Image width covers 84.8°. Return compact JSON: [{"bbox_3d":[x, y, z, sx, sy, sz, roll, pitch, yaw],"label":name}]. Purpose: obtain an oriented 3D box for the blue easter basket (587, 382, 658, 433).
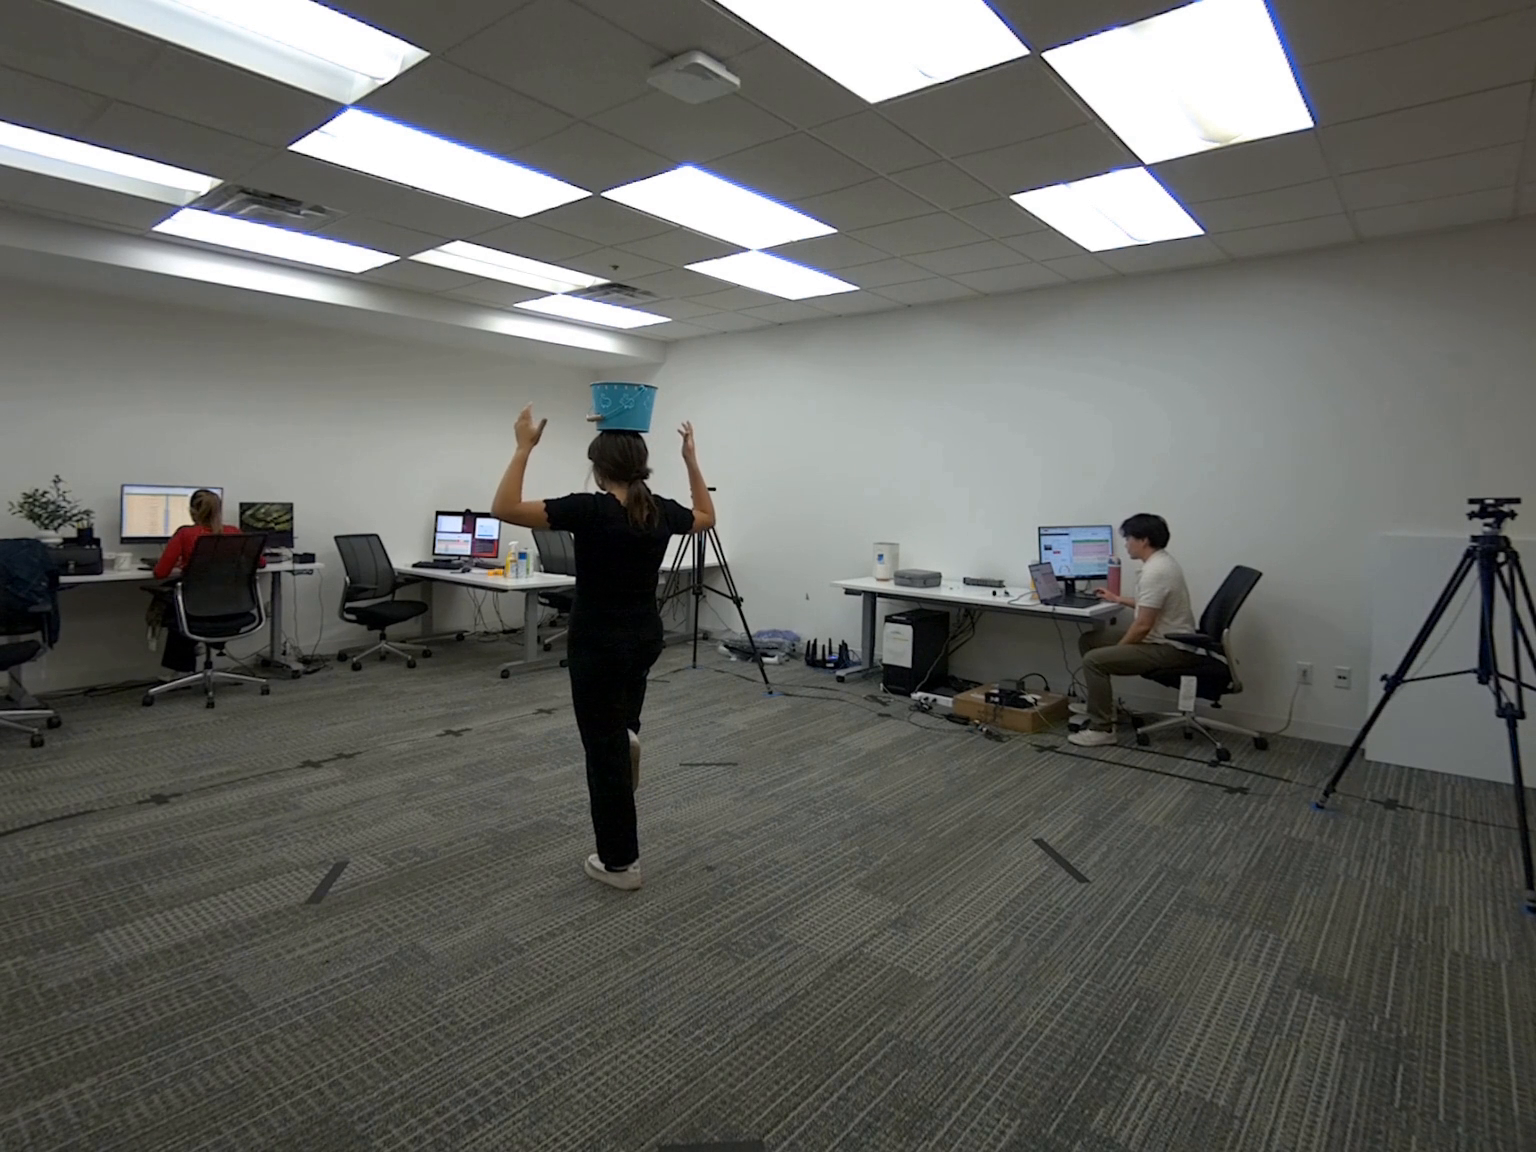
[{"bbox_3d":[-0.505,-0.571,2.888,0.243,0.155,0.245,2,5,-2],"label":"blue easter basket"}]
